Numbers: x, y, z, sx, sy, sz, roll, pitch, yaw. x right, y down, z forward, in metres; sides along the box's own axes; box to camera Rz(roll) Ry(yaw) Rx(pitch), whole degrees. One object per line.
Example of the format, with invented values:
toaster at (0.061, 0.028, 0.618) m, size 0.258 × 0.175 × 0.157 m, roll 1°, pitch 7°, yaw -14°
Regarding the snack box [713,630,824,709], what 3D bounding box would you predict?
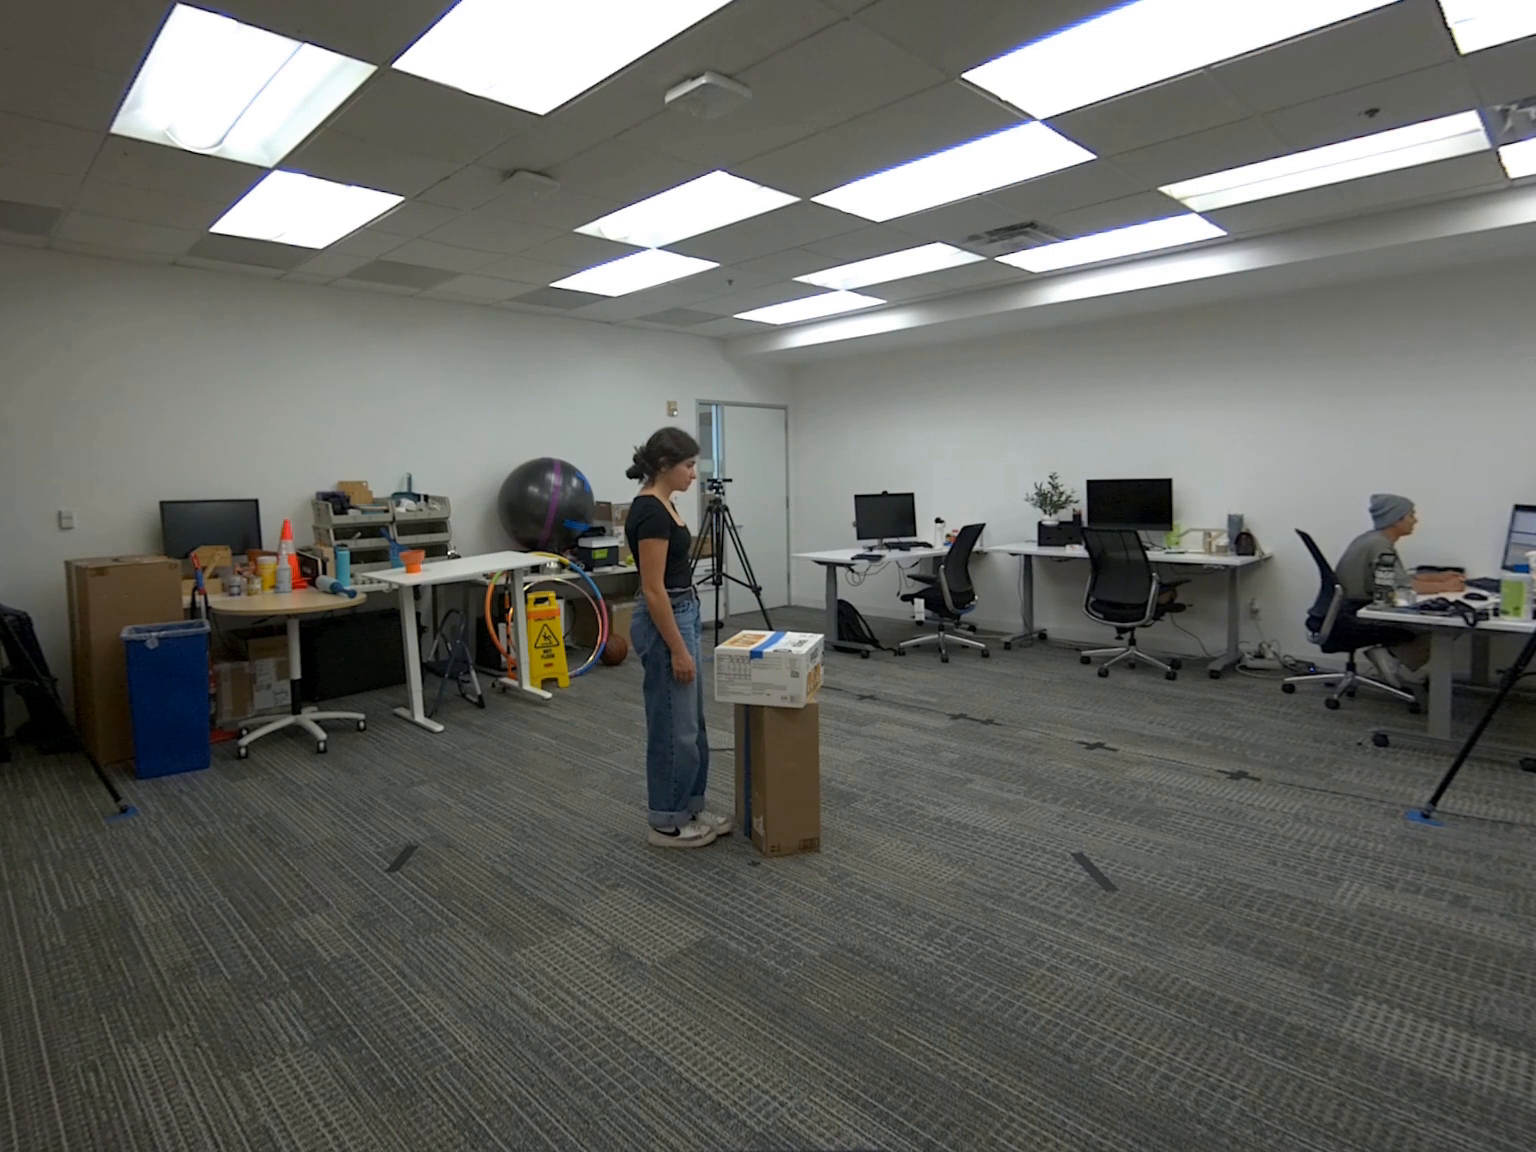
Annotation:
snack box at (0.010, 0.350, 3.311) m, size 0.346 × 0.205 × 0.400 m, roll 1°, pitch 6°, yaw 16°
